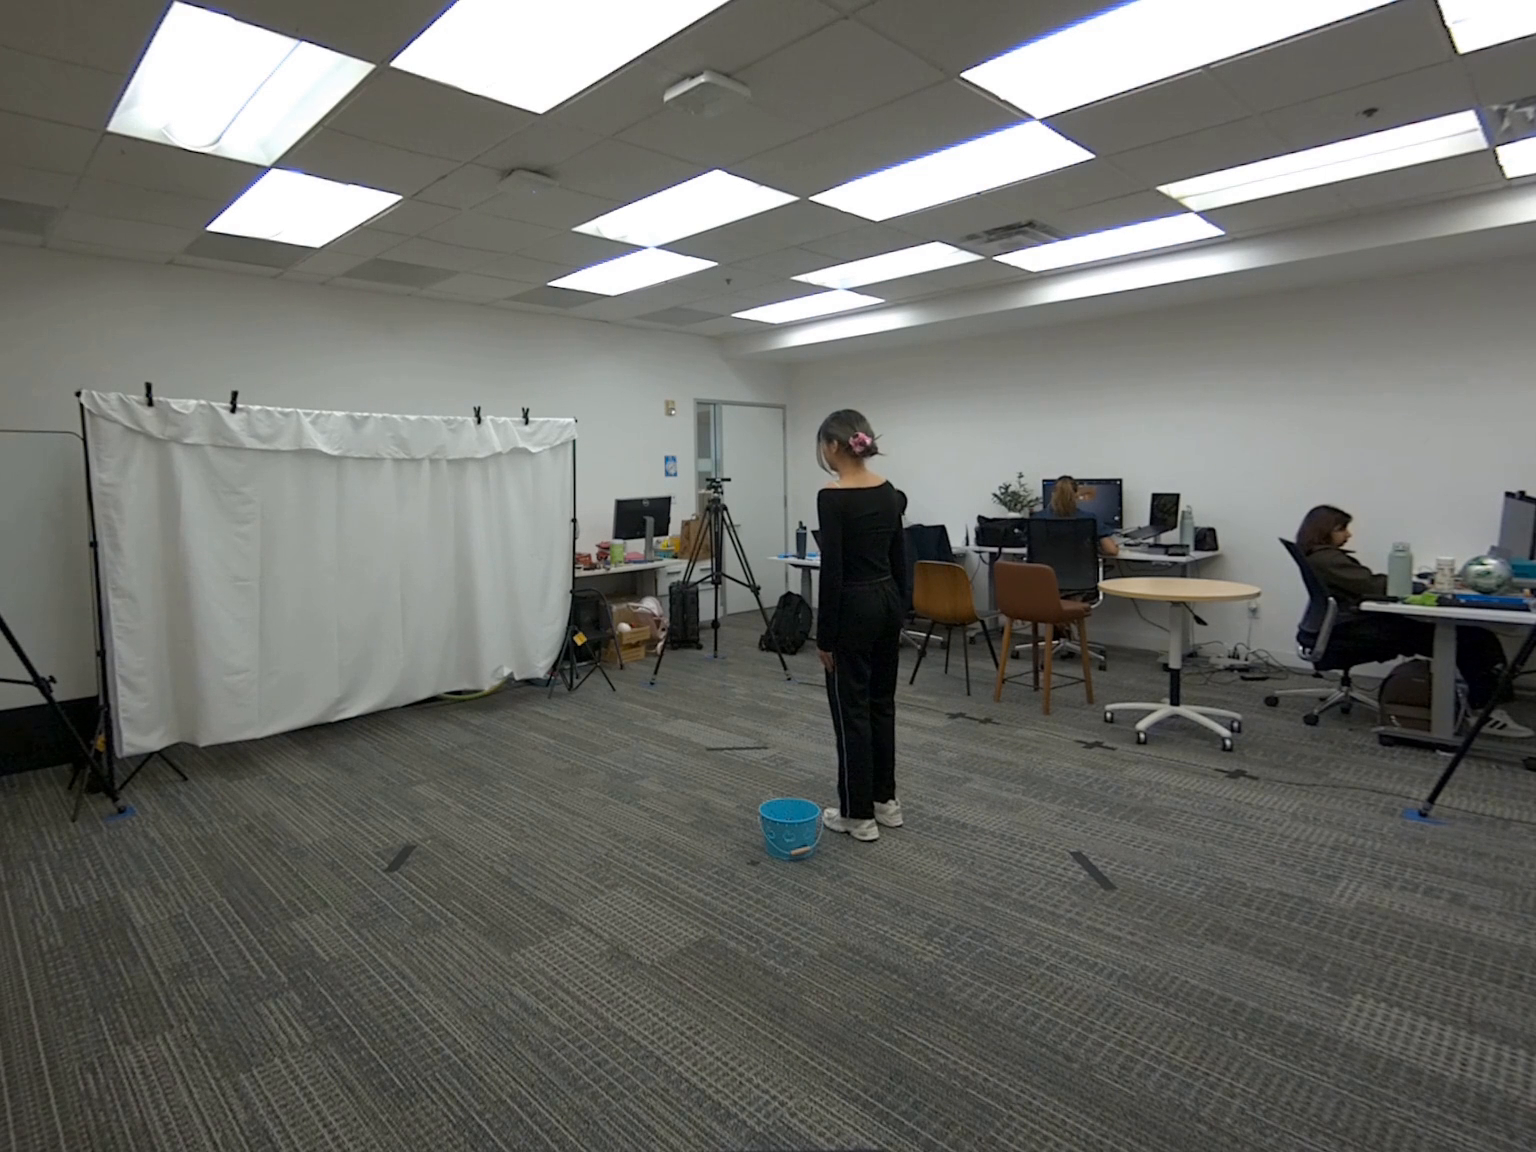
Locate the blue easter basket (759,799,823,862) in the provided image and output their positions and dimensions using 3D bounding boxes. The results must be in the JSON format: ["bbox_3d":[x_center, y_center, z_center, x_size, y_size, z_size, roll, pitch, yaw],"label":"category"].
[{"bbox_3d":[0.082,0.949,3.209,0.243,0.155,0.245,0,5,-2],"label":"blue easter basket"}]
